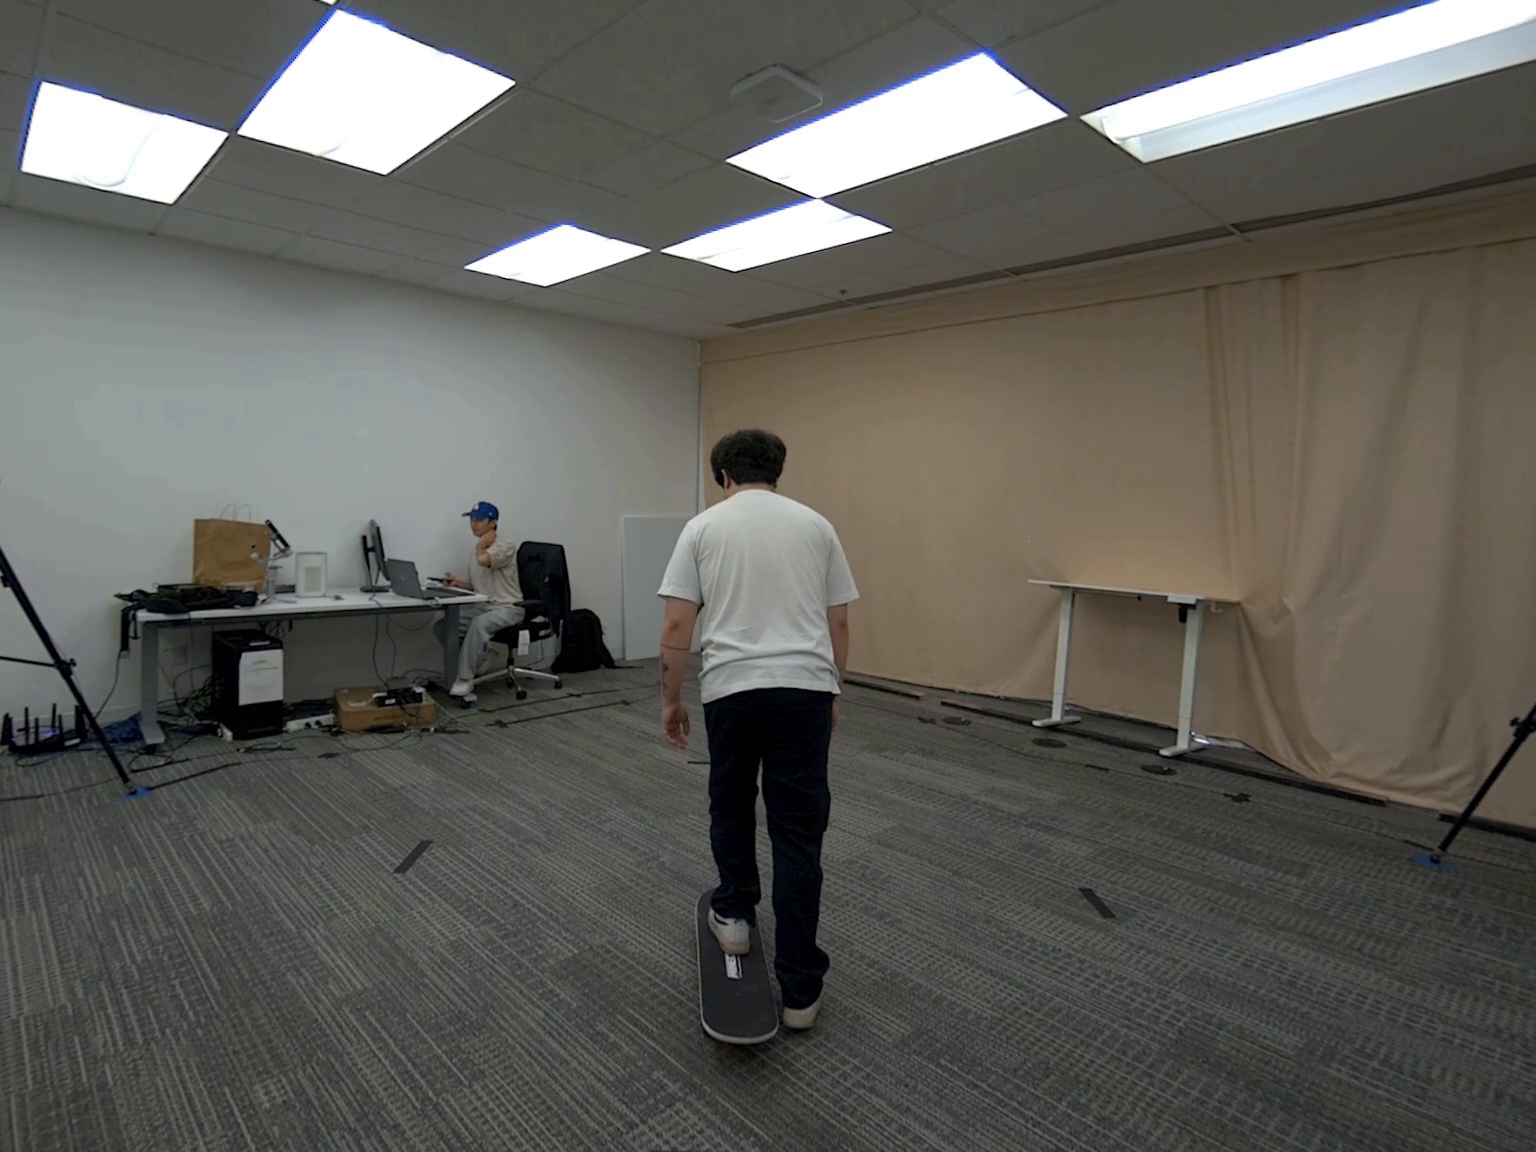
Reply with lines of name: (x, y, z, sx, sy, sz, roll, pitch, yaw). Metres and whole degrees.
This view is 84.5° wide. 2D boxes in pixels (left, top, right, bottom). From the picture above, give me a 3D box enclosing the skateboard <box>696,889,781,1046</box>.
skateboard: (-0.108, 1.119, 2.390, 0.193, 0.110, 0.791, 2, 5, -6)
